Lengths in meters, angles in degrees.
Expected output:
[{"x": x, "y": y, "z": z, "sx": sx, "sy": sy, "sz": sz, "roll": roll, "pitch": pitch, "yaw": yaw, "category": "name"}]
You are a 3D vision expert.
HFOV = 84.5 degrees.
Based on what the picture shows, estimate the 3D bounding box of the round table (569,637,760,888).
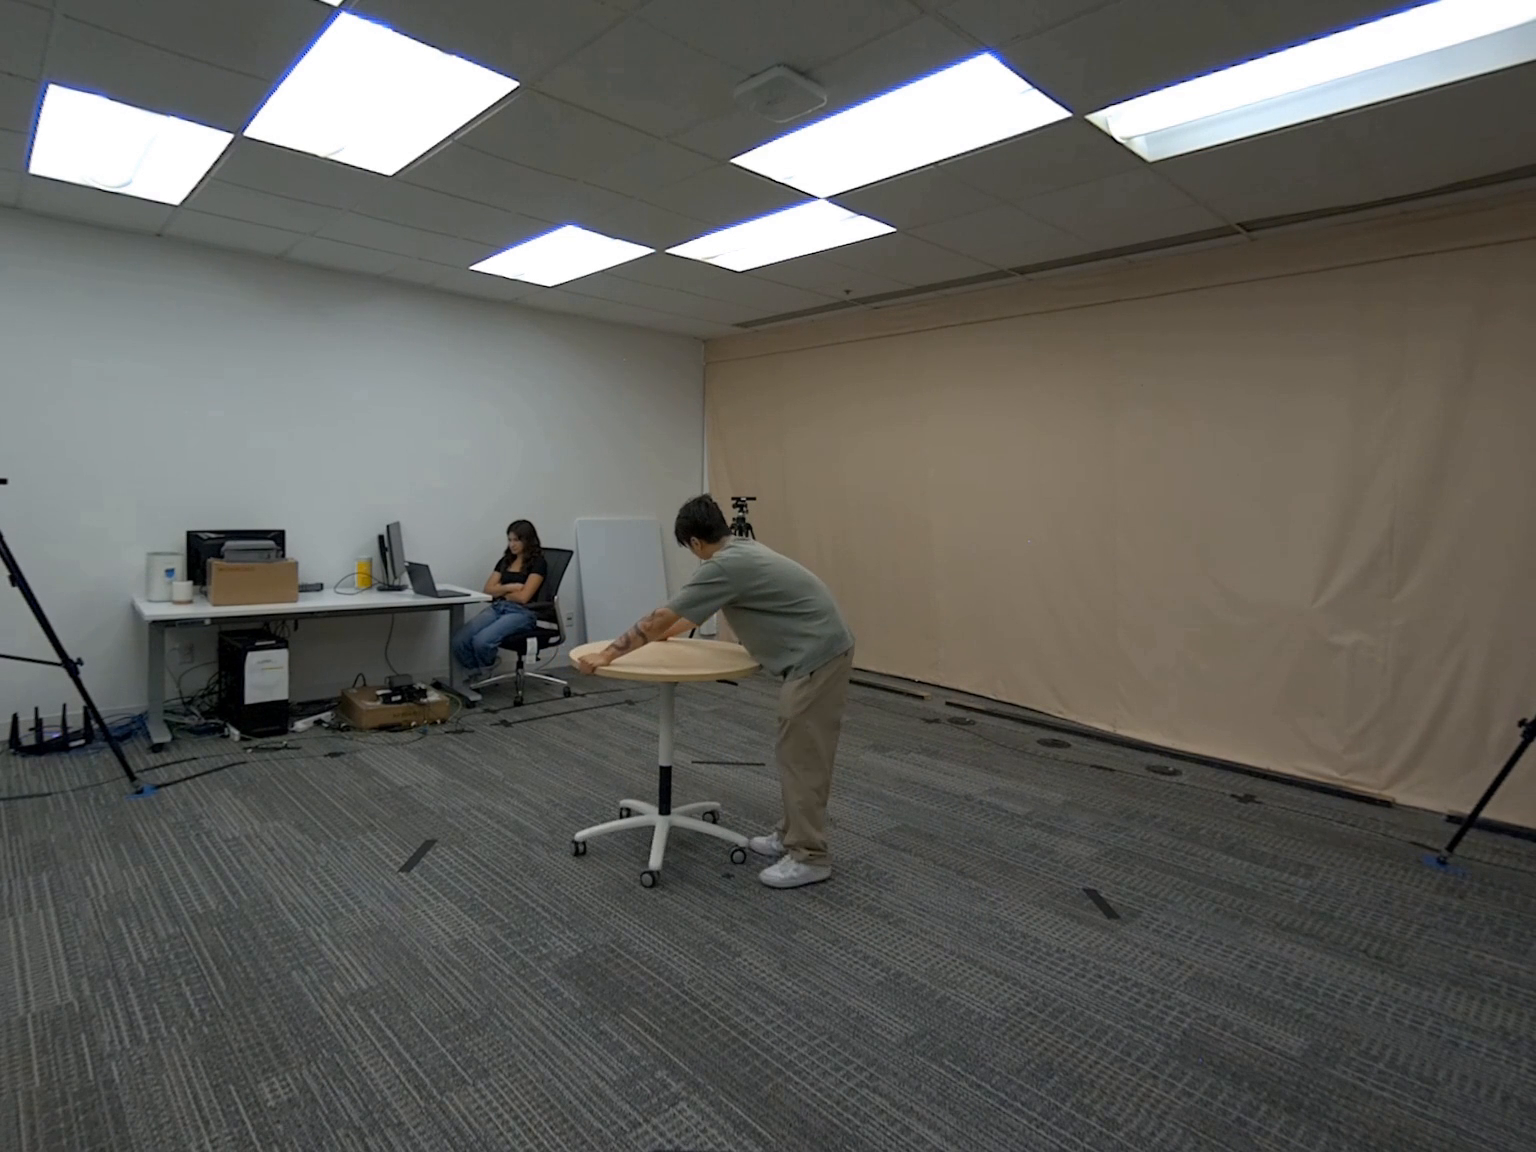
[{"x": -0.416, "y": 0.690, "z": 3.302, "sx": 0.784, "sy": 0.784, "sz": 0.788, "roll": 2, "pitch": 4, "yaw": -1, "category": "round table"}]
